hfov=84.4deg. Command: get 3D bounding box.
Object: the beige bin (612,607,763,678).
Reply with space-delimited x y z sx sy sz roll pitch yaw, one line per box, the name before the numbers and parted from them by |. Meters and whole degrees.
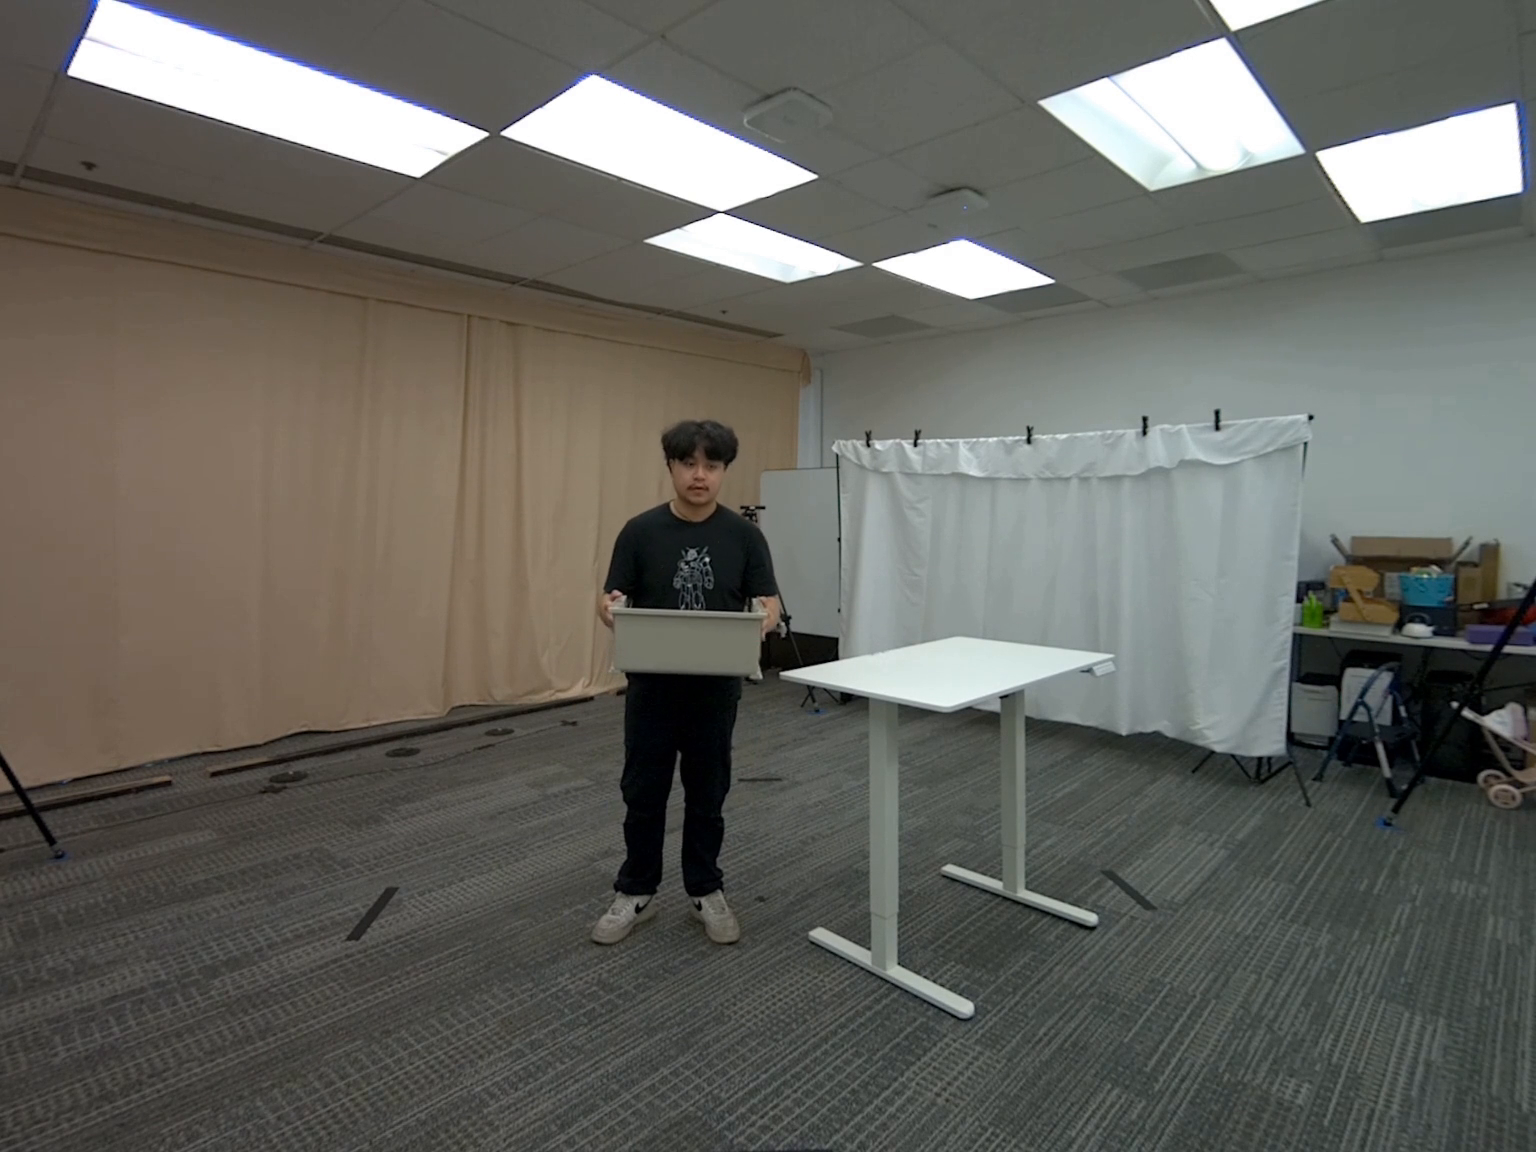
beige bin | -0.234 0.170 2.409 0.421 0.188 0.380 3 7 -4
